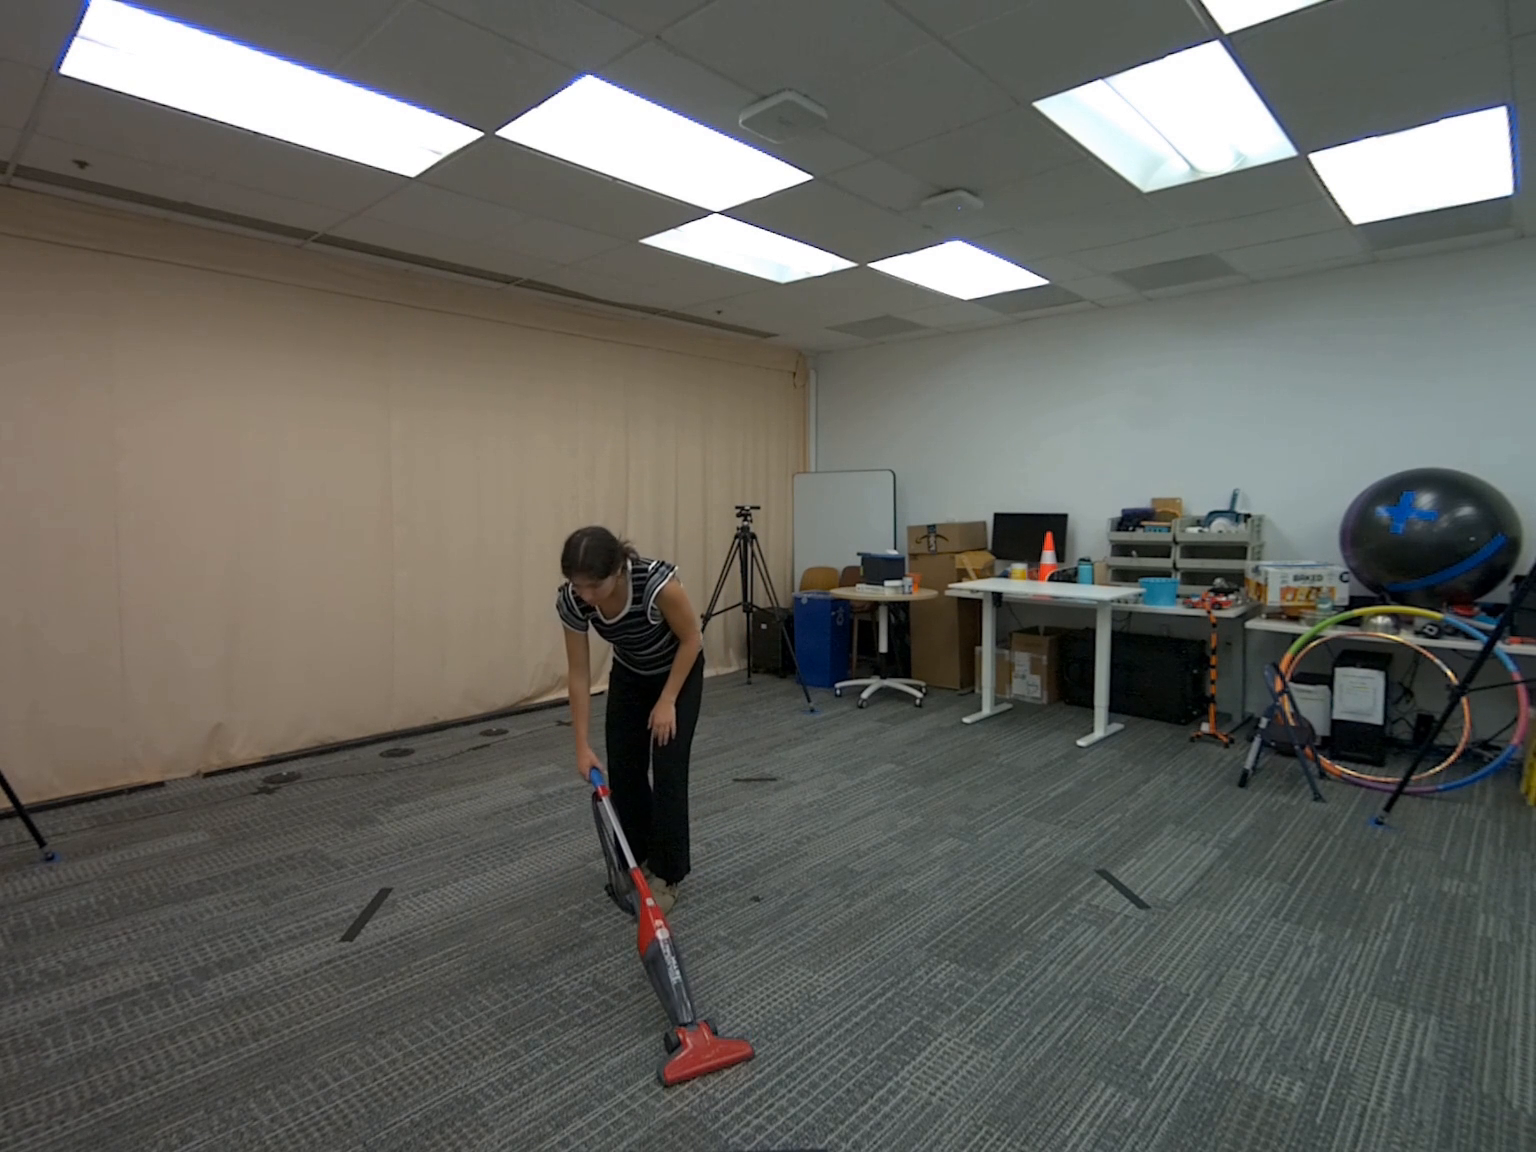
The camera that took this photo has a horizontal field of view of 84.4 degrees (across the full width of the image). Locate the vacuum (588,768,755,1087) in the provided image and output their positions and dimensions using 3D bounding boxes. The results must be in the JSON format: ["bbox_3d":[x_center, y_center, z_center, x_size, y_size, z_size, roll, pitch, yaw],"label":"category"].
[{"bbox_3d":[-0.398,0.925,2.510,0.245,0.143,1.086,2,29,-31],"label":"vacuum"}]
